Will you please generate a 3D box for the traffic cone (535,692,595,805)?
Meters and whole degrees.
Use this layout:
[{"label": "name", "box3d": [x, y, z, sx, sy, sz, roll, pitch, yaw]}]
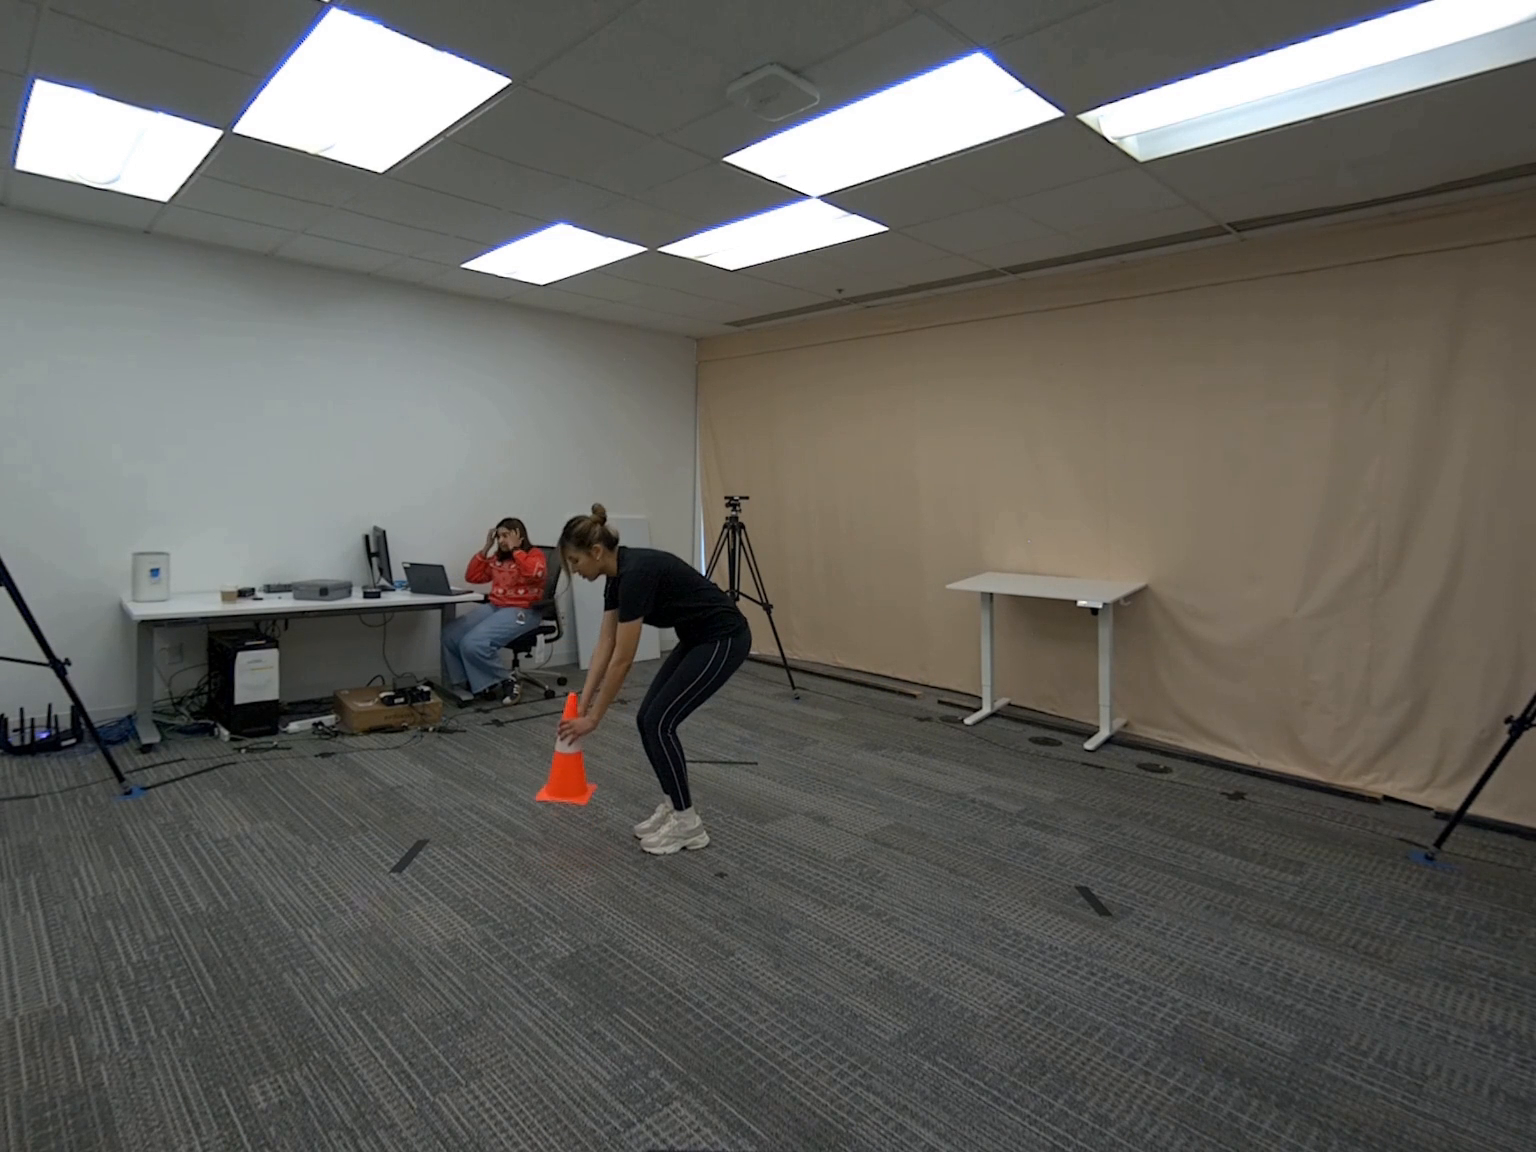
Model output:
[{"label": "traffic cone", "box3d": [-0.769, 0.641, 3.214, 0.203, 0.383, 0.205, 6, 1, -2]}]
